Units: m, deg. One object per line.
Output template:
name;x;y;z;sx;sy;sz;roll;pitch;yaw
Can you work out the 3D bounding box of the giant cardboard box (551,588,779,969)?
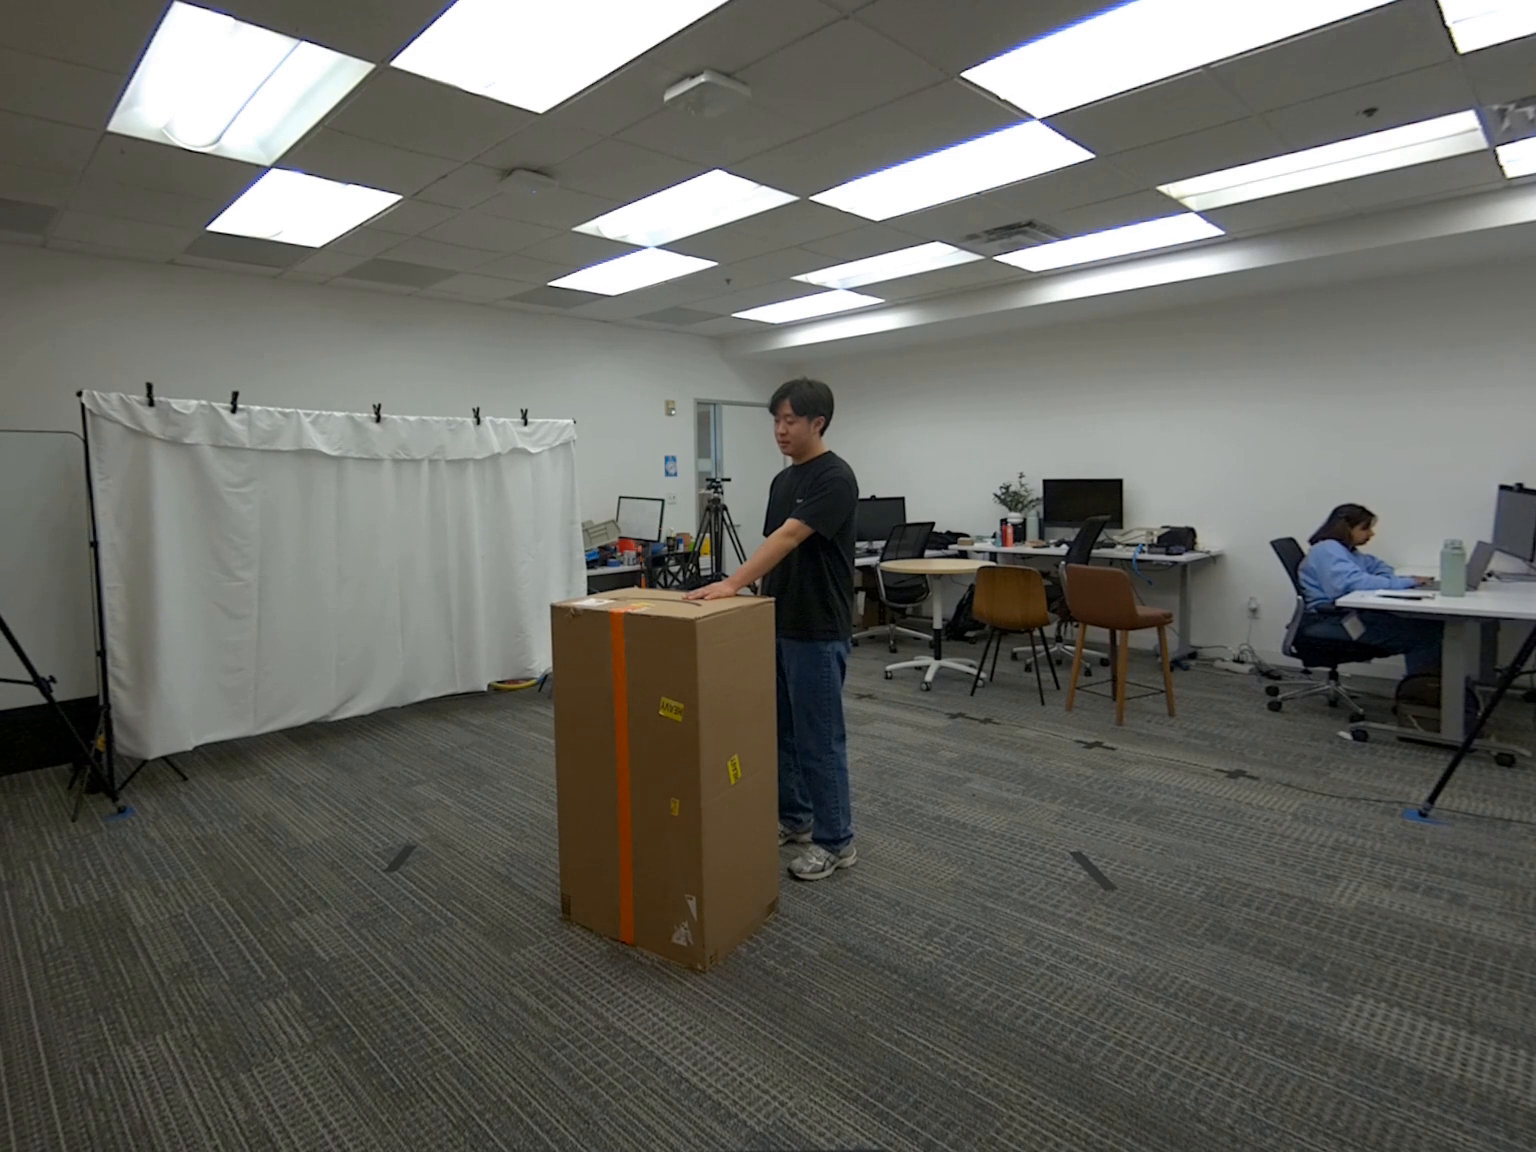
giant cardboard box;-0.324;0.580;2.712;0.601;1.022;0.436;2;6;35
